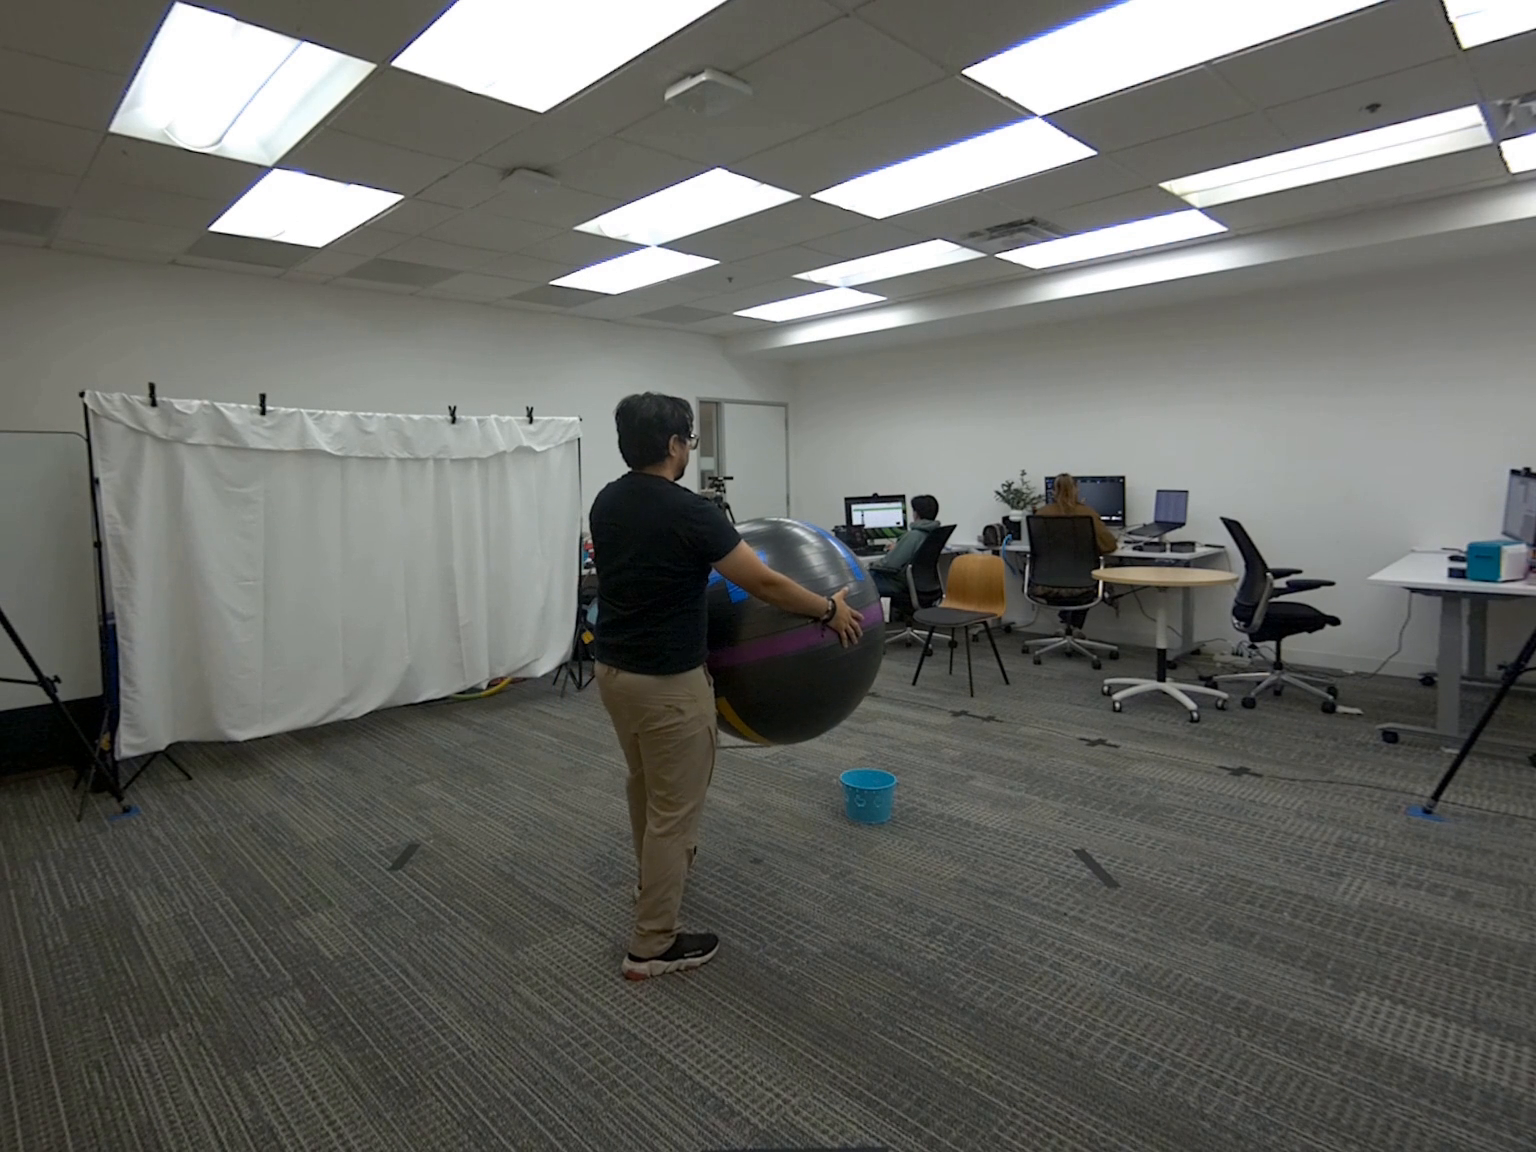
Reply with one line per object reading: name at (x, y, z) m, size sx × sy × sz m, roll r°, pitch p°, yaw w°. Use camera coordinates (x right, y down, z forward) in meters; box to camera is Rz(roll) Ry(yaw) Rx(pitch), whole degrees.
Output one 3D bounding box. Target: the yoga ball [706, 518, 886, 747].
yoga ball at (0.016, 0.189, 2.904) m, size 0.757 × 0.755 × 0.762 m, roll -1°, pitch 5°, yaw -2°
